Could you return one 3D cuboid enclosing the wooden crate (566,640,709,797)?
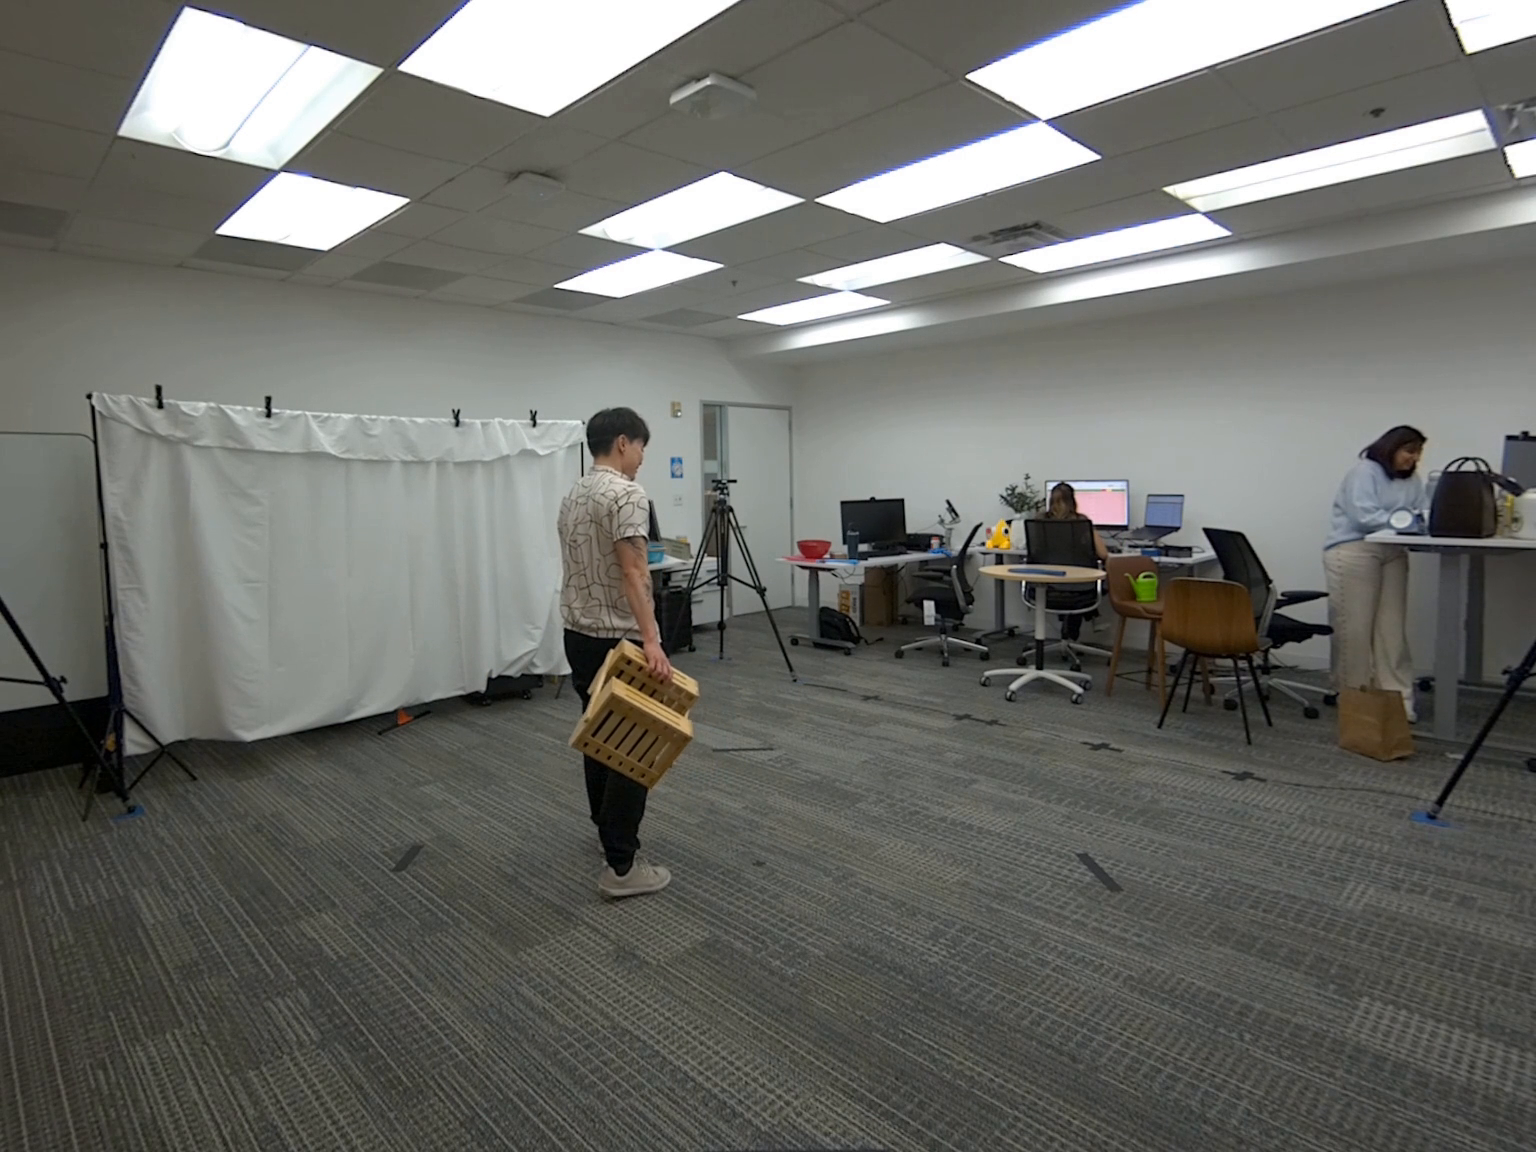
[{"bbox_3d":[-0.420,0.447,2.760,0.317,0.301,0.280,32,17,-19],"label":"wooden crate"}]
